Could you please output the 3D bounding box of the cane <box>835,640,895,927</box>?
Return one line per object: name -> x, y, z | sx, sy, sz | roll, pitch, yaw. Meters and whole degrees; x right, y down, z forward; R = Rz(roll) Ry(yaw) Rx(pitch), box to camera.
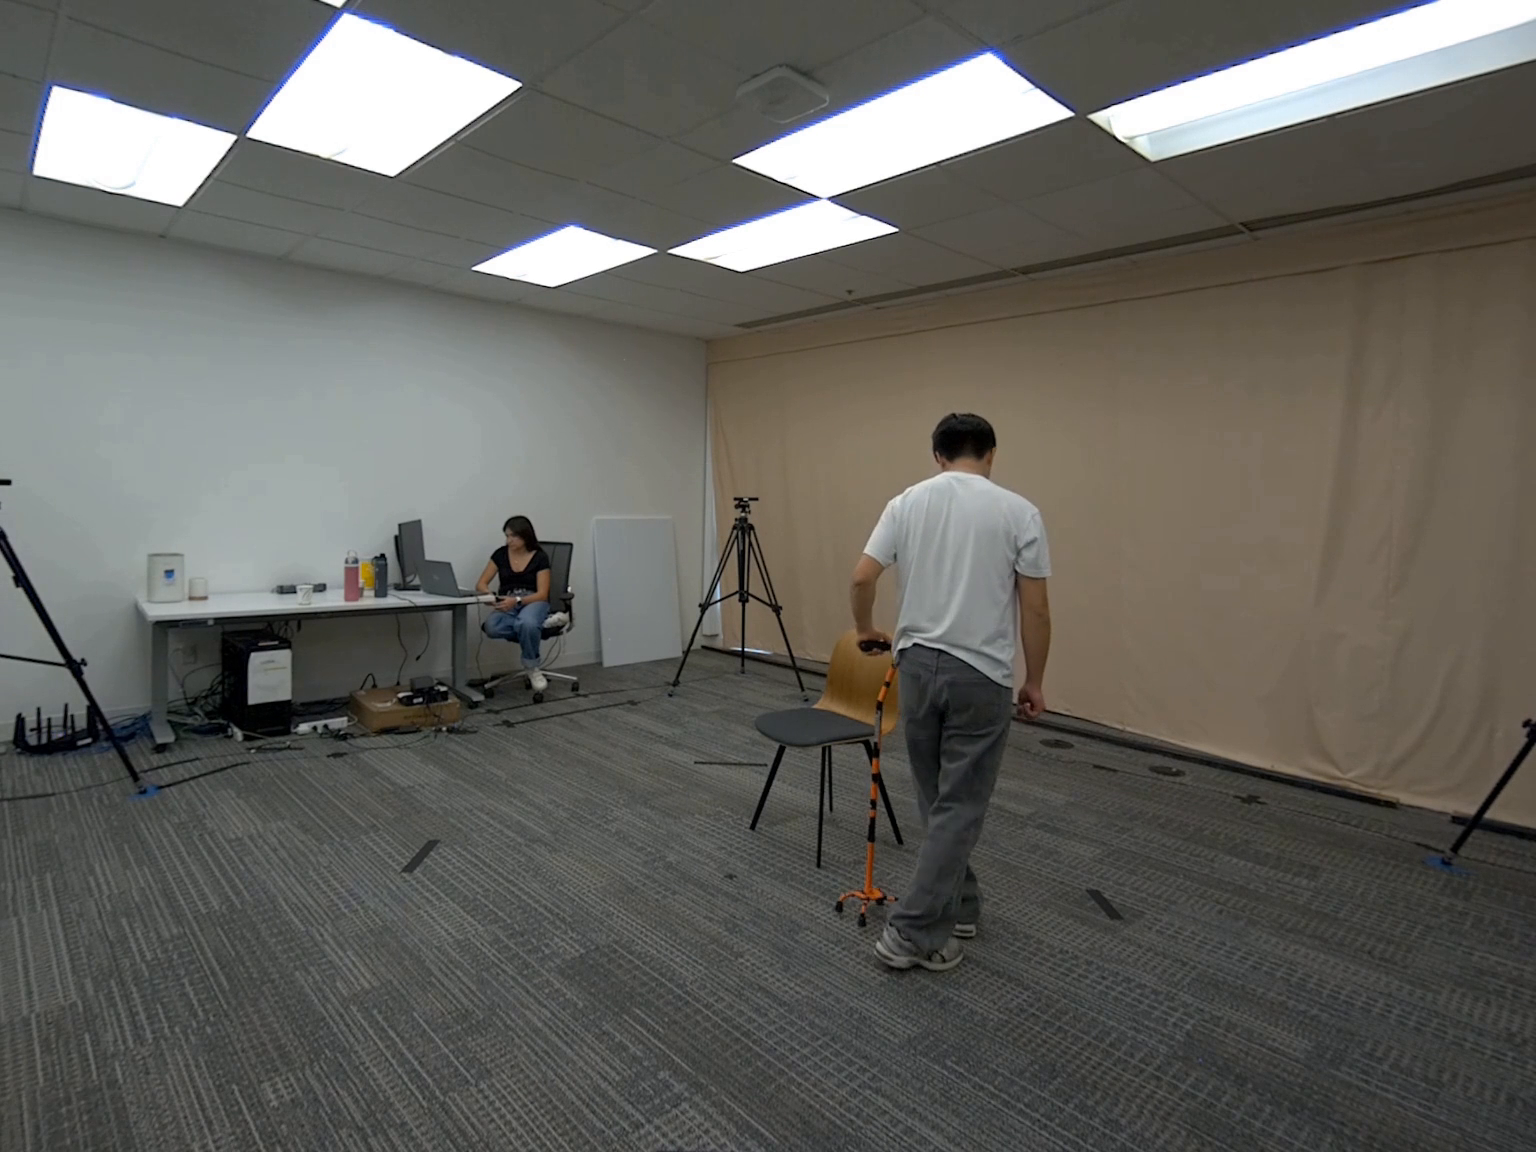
cane -> 0.356, 0.663, 2.830 | 0.202, 0.909, 0.155 | 2, -1, -32
